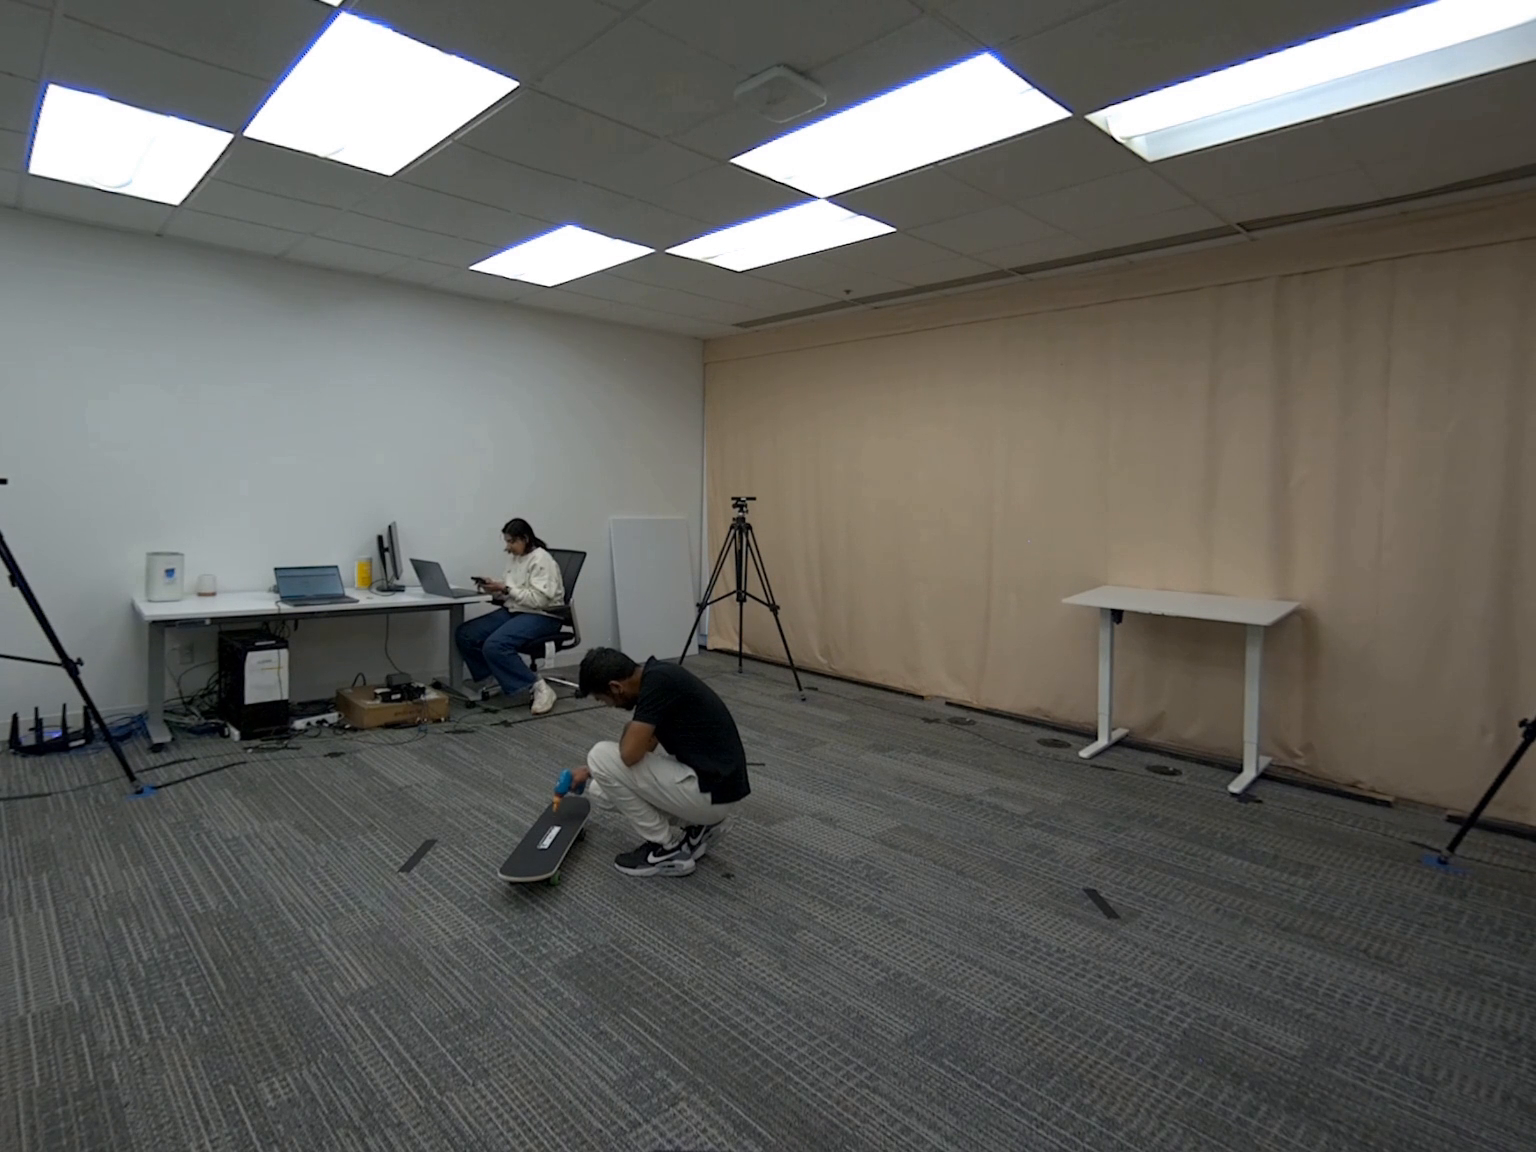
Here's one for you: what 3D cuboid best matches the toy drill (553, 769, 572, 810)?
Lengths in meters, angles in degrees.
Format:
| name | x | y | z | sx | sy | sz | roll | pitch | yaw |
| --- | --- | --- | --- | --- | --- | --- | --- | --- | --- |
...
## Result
| name | x | y | z | sx | sy | sz | roll | pitch | yaw |
| --- | --- | --- | --- | --- | --- | --- | --- | --- | --- |
| toy drill | -0.819 | 0.871 | 3.430 | 0.062 | 0.171 | 0.141 | -2 | -22 | 39 |
